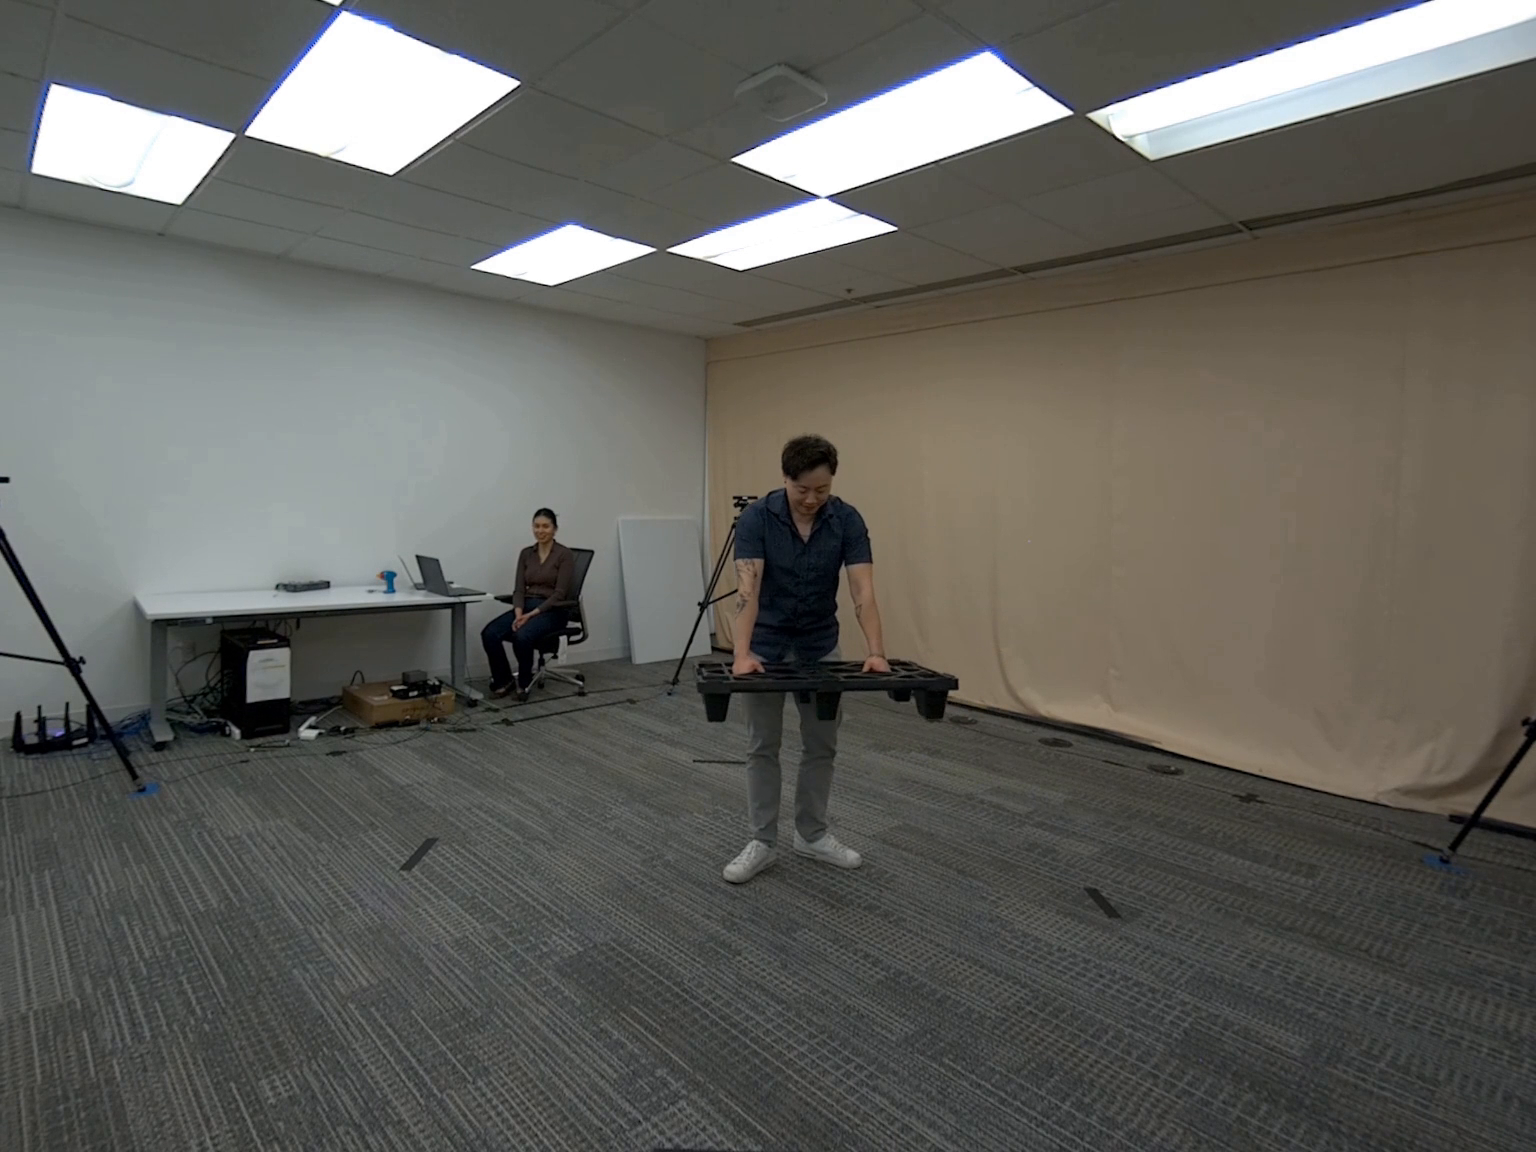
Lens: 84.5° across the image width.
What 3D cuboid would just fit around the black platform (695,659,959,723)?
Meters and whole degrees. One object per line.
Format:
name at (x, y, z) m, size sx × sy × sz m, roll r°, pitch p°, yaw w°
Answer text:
black platform at (0.149, 0.389, 2.821) m, size 0.803 × 0.143 × 0.606 m, roll 0°, pitch -1°, yaw -5°
